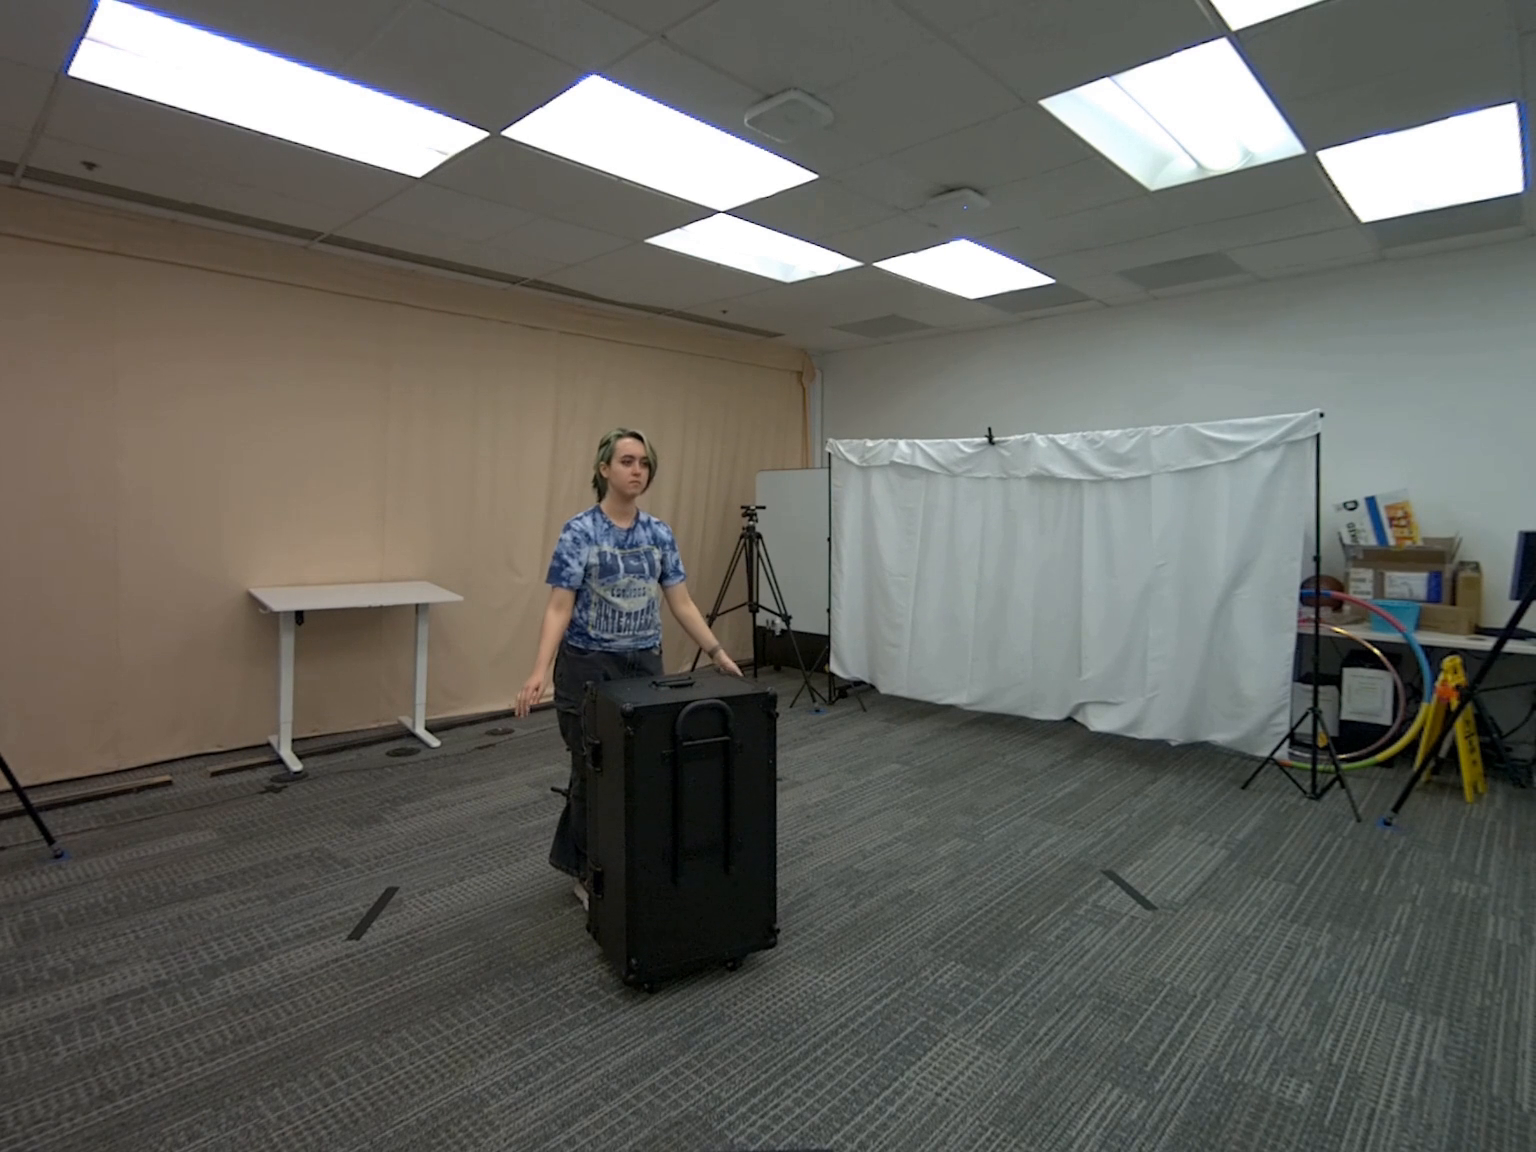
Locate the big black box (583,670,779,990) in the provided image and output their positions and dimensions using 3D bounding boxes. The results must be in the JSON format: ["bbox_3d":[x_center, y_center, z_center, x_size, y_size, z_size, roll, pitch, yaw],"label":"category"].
[{"bbox_3d":[-0.261,0.701,2.546,0.508,0.860,0.407,-1,4,-28],"label":"big black box"}]
